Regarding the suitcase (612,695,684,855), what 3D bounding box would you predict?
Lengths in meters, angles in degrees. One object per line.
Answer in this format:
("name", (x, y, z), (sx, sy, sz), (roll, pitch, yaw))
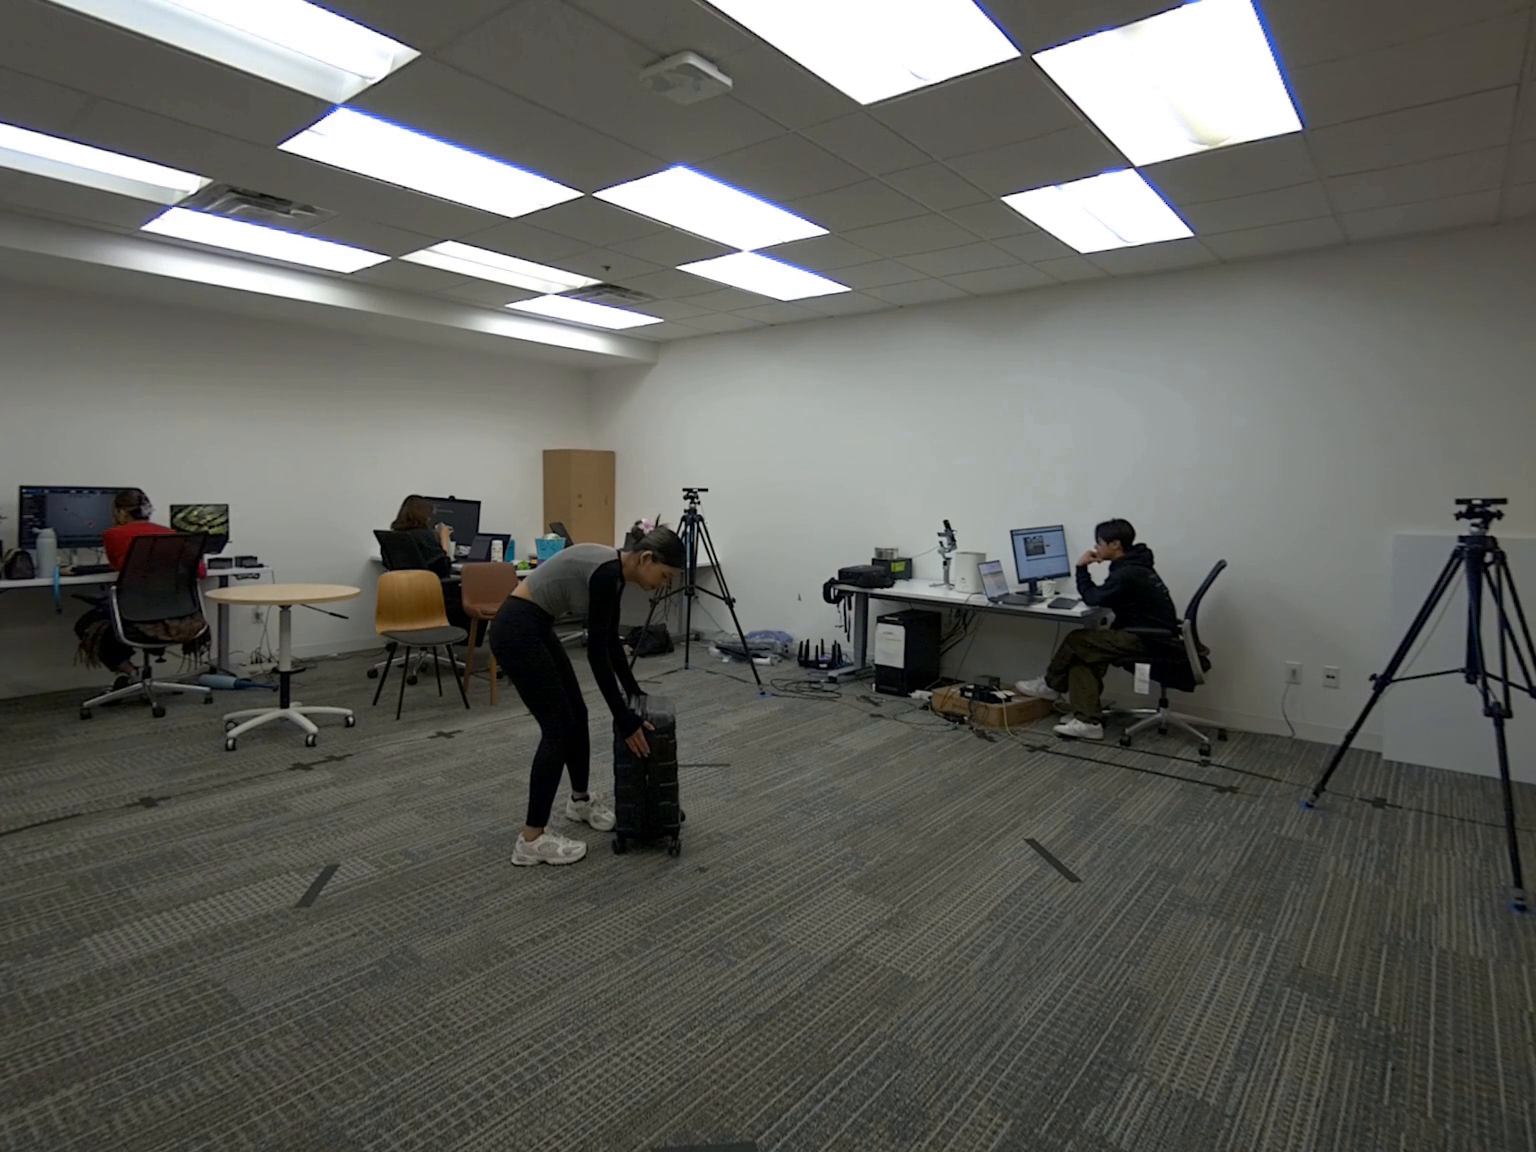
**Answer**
("suitcase", (-0.484, 0.766, 3.374), (0.247, 0.548, 0.379), (-1, 3, -7))
